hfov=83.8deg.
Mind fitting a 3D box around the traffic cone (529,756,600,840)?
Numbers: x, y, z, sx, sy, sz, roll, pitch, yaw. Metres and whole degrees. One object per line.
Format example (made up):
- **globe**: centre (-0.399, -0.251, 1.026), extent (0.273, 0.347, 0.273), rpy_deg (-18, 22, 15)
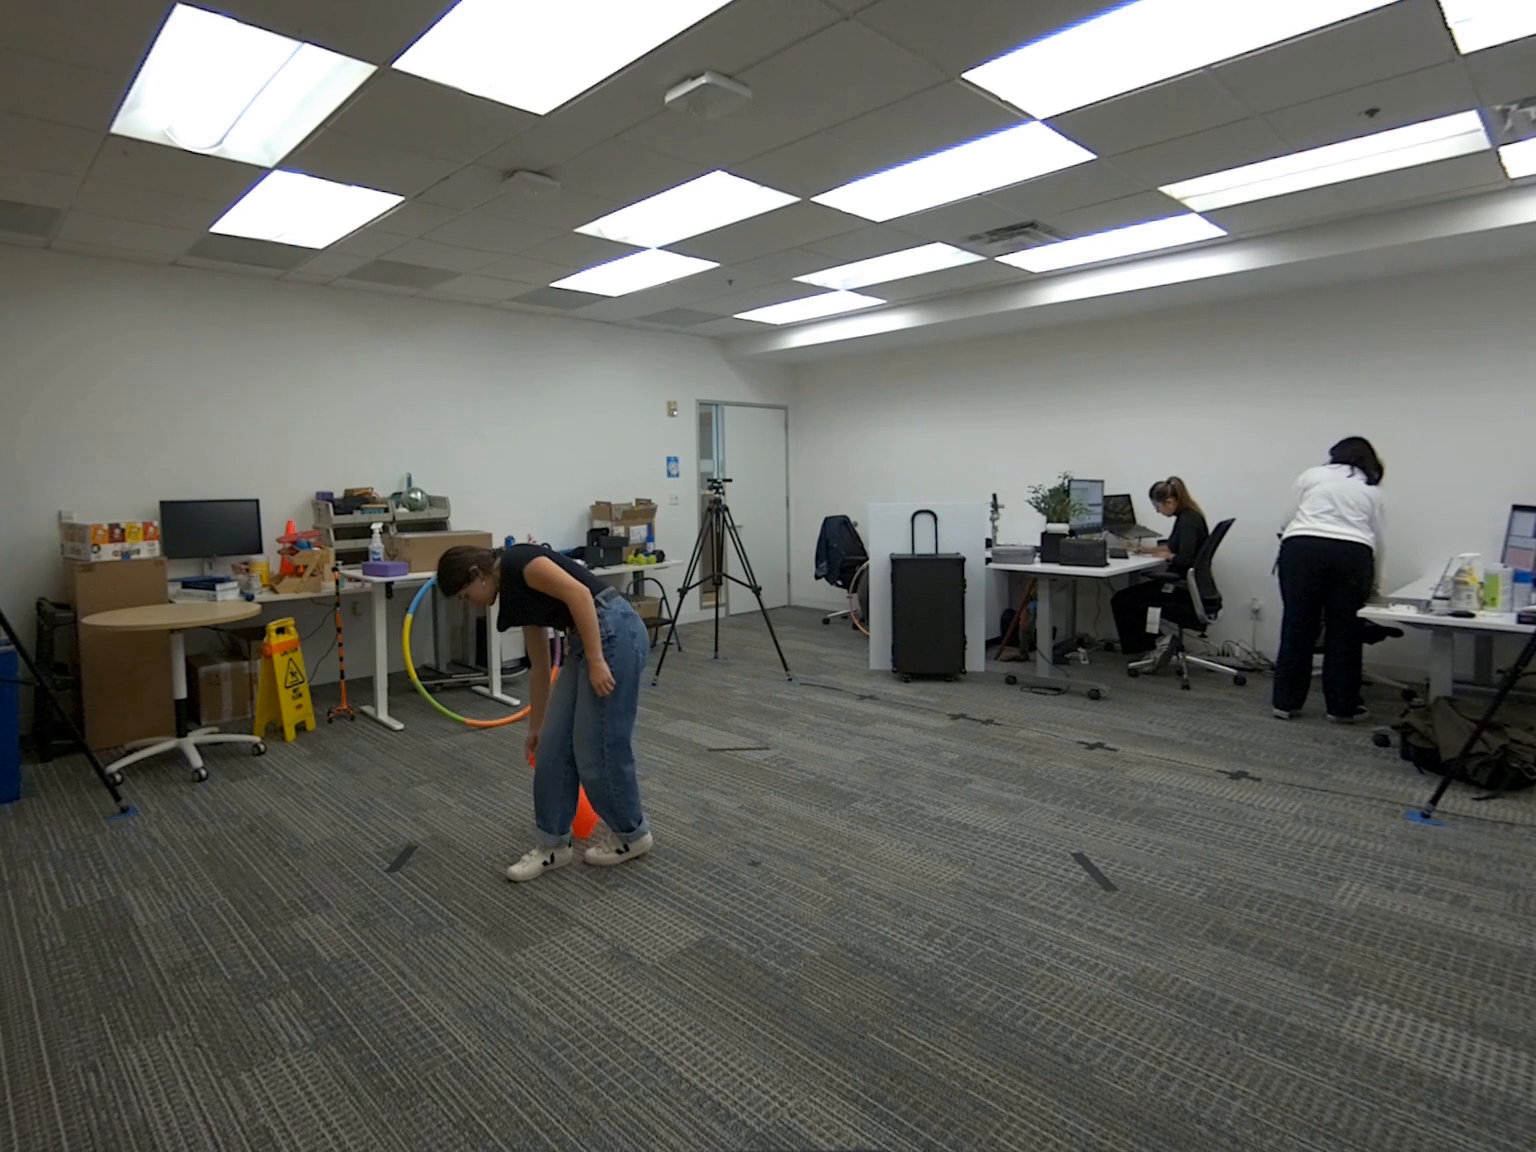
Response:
- **traffic cone**: centre (-0.826, 0.825, 3.363), extent (0.206, 0.371, 0.208), rpy_deg (-12, 34, 20)
